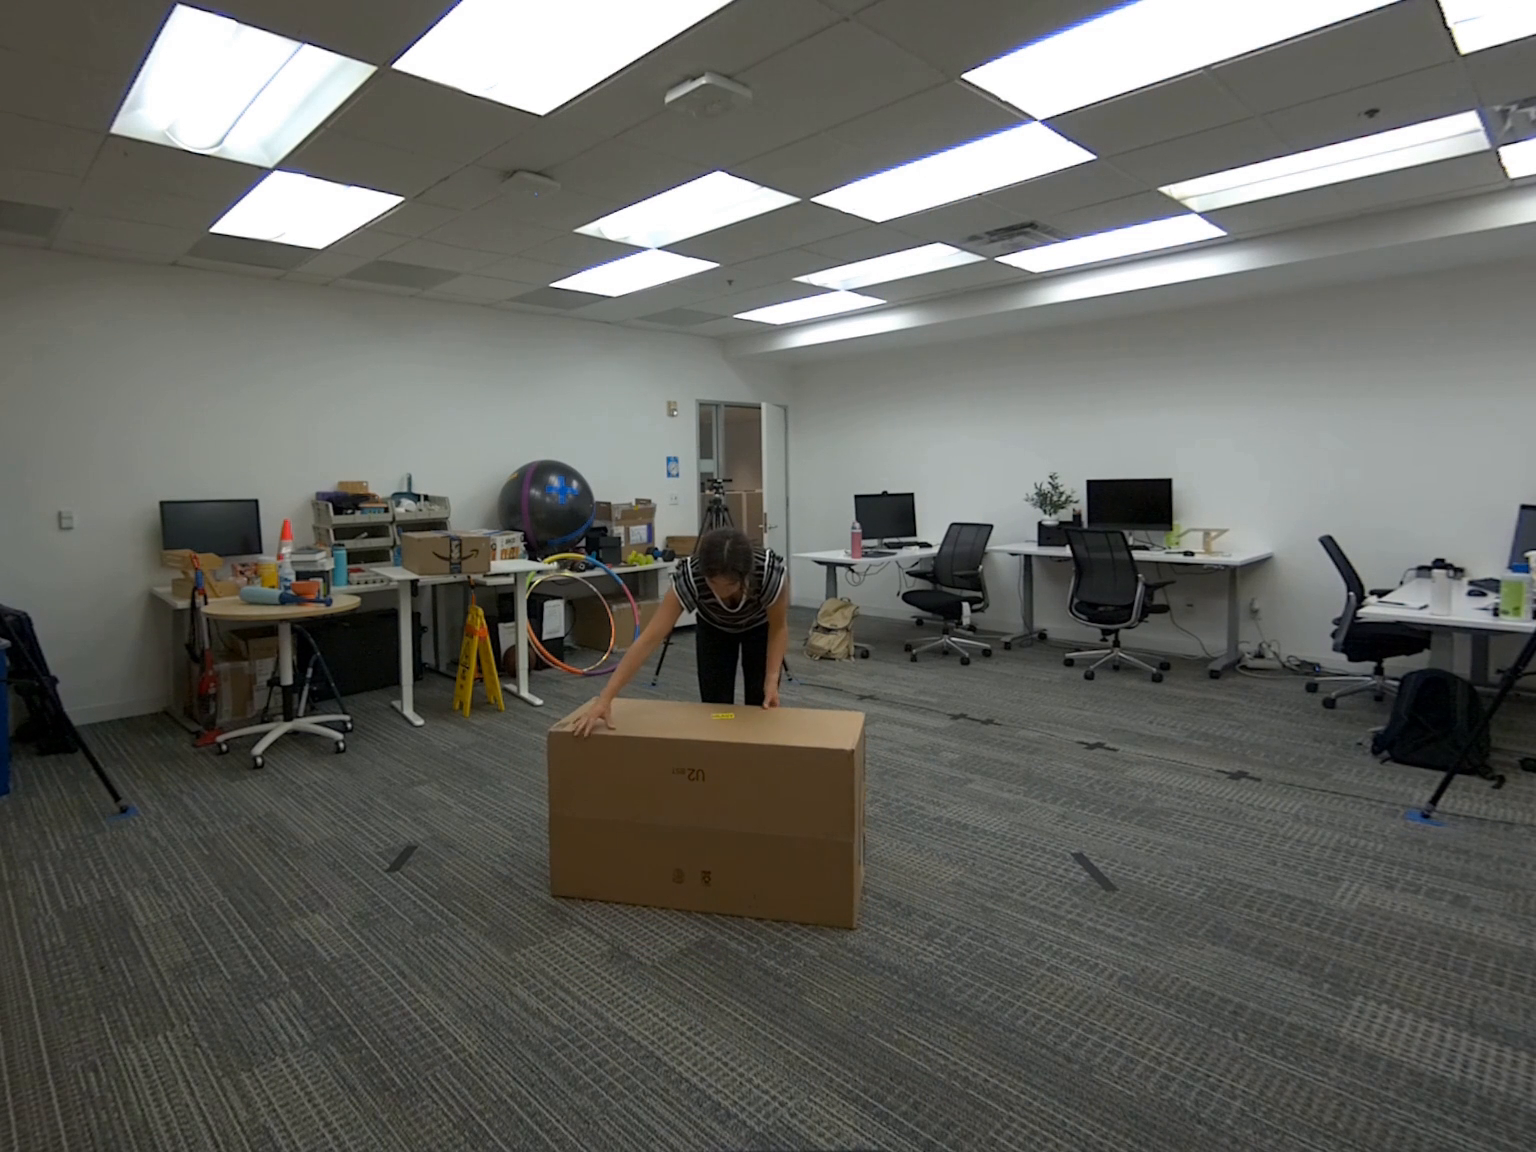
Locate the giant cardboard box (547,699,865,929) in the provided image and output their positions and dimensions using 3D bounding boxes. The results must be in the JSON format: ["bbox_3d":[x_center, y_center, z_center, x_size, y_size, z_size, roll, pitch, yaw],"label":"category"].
[{"bbox_3d":[-0.194,0.771,2.938,1.039,0.575,0.422,0,4,13],"label":"giant cardboard box"}]
